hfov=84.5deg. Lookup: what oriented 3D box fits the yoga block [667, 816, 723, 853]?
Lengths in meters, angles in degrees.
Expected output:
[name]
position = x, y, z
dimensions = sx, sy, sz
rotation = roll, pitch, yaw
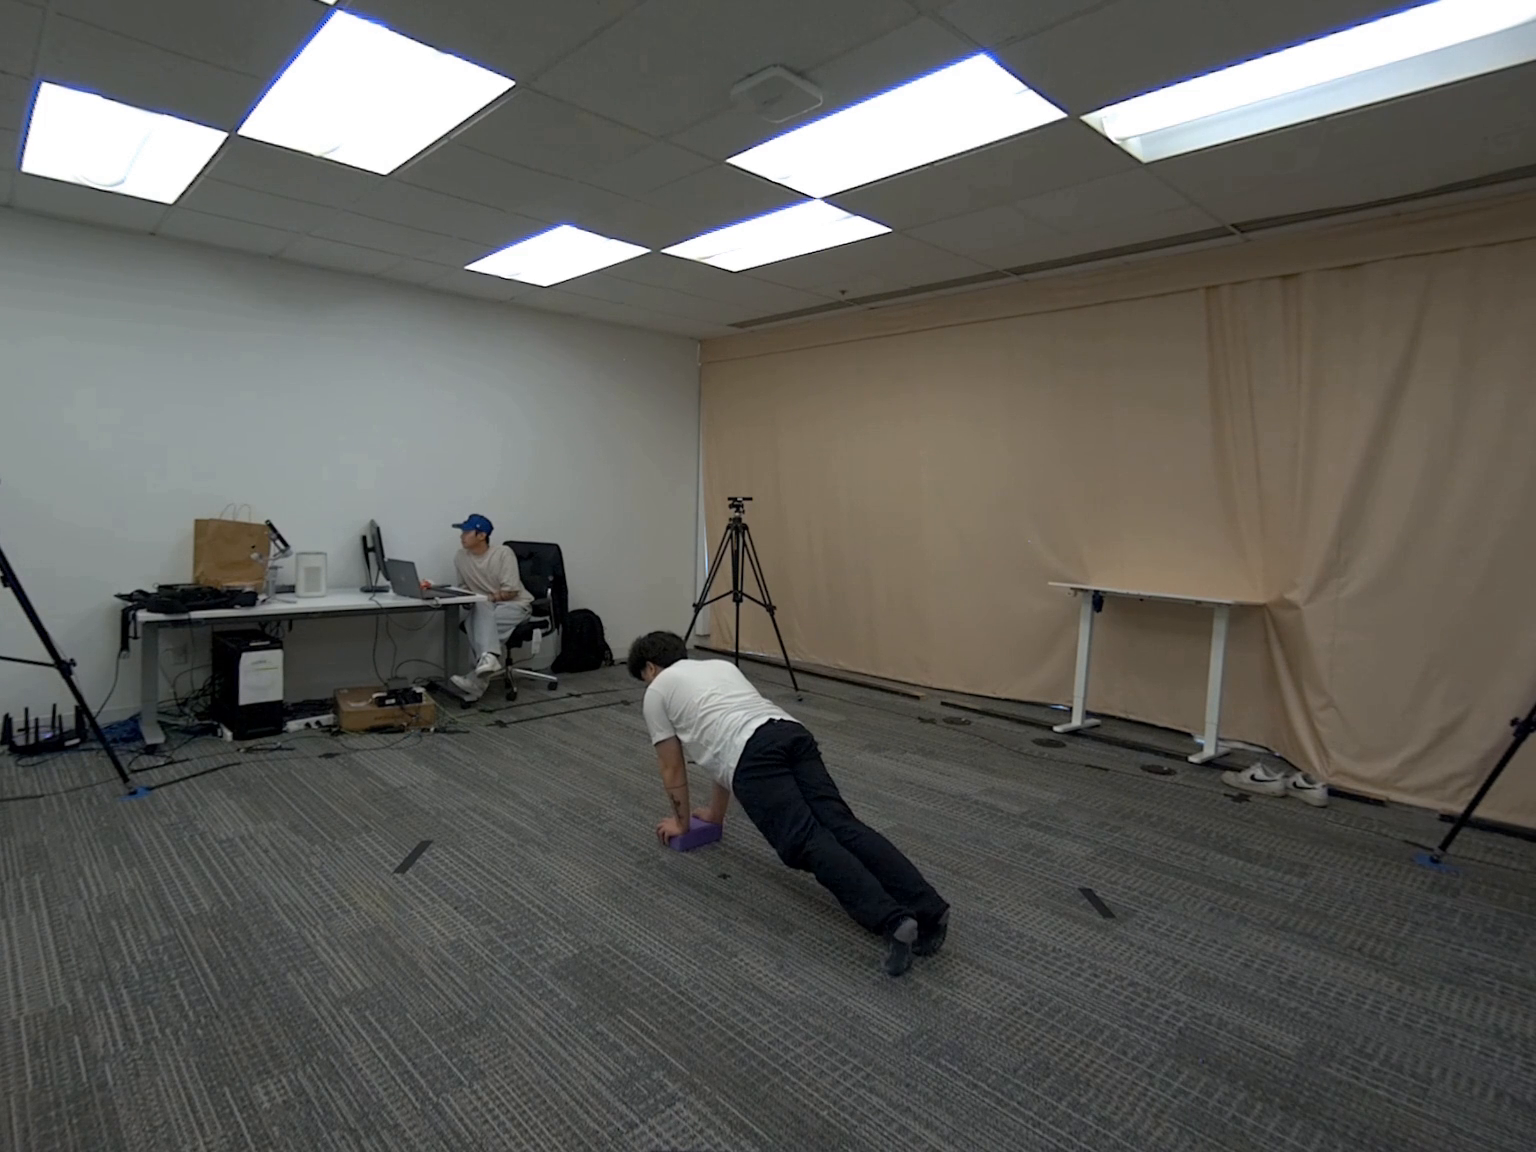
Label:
[yoga block]
position = -0.325, 1.040, 3.425
dimensions = 0.224, 0.076, 0.153
rotation = -4, 5, -45
